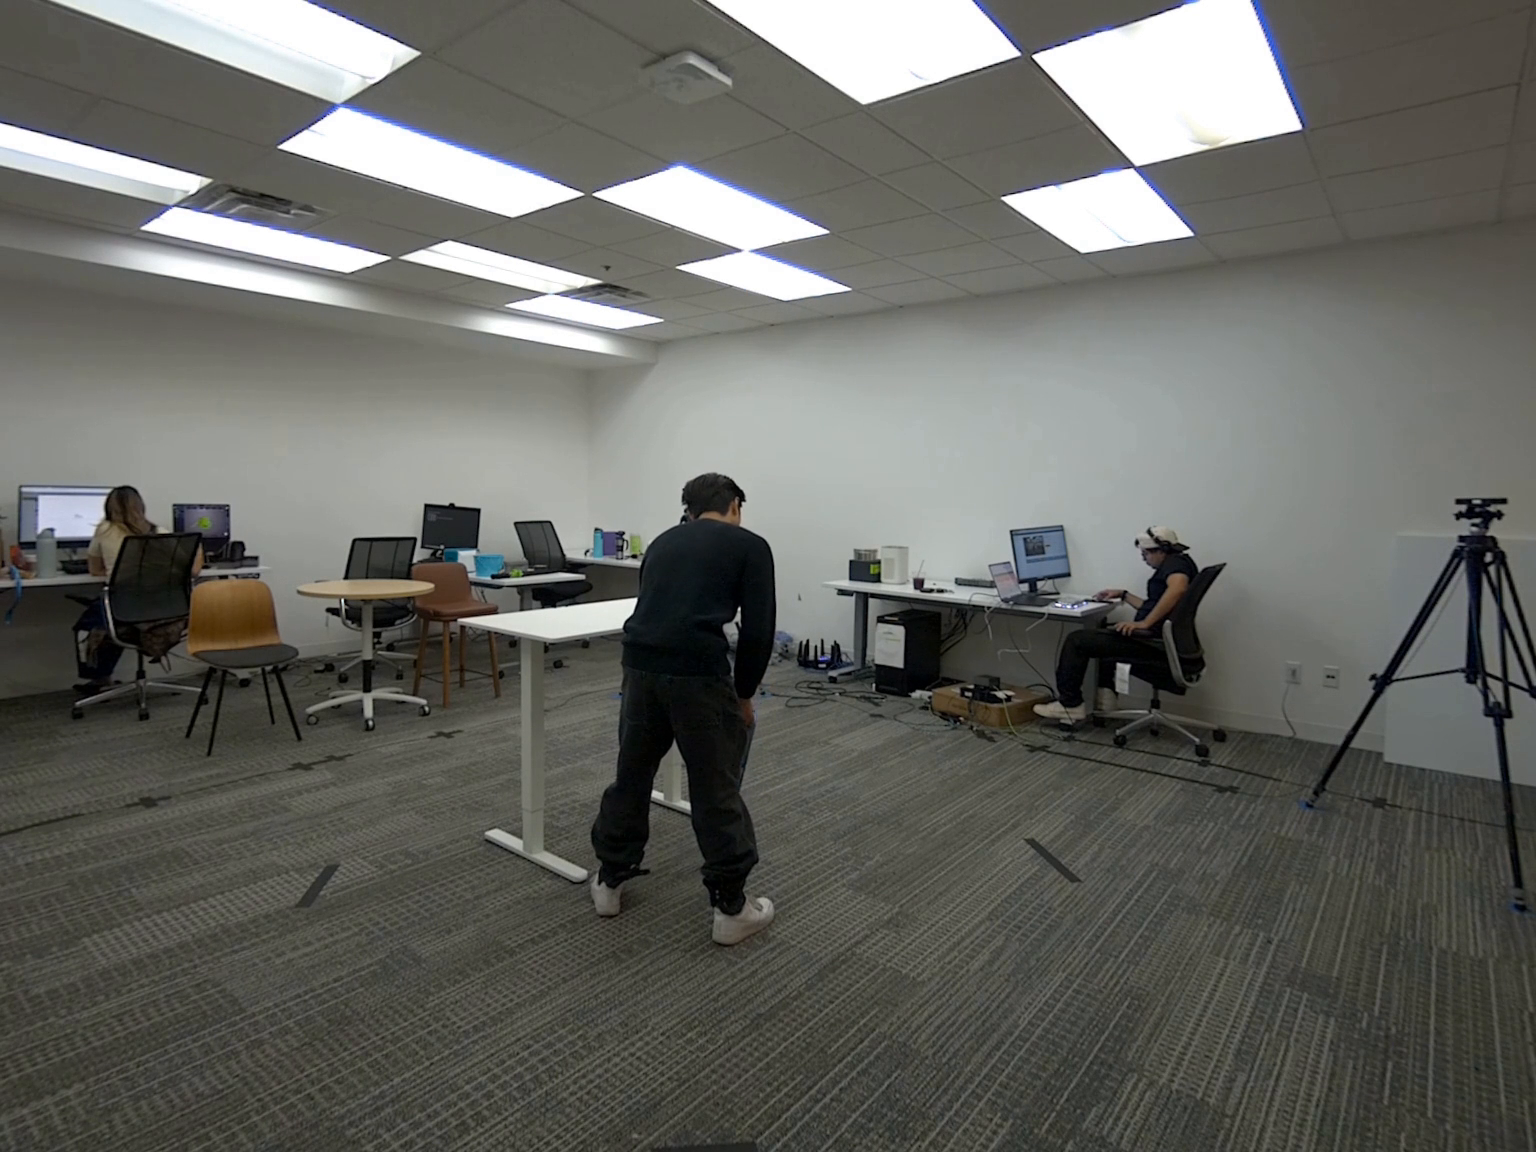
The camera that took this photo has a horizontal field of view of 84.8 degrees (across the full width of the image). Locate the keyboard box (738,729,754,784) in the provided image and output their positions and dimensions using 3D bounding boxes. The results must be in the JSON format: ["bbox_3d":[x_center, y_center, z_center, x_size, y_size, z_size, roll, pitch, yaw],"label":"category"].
[{"bbox_3d":[-0.167,0.607,2.931,0.176,0.427,0.060,7,36,-2],"label":"keyboard box"}]
